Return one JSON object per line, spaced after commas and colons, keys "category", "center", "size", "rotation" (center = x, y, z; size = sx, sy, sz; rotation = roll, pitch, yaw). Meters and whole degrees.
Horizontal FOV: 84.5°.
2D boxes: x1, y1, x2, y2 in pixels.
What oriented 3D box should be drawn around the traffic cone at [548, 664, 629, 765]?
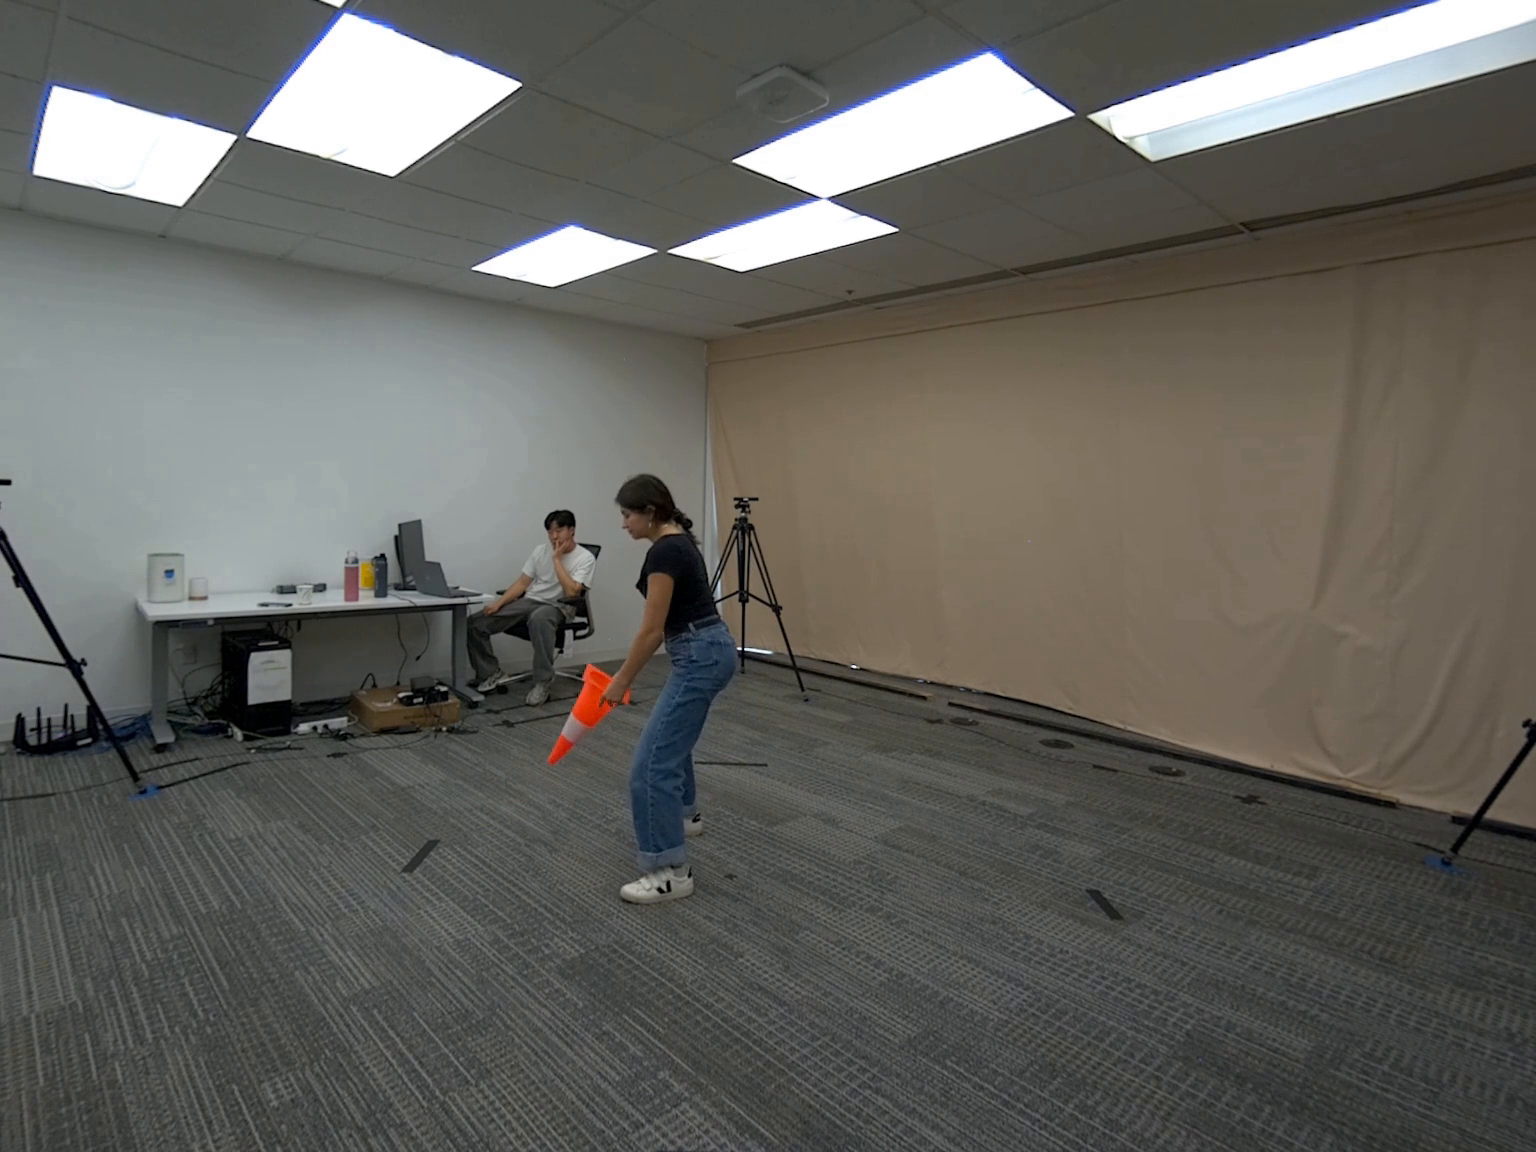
{"category": "traffic cone", "center": [-0.733, 0.575, 3.217], "size": [0.207, 0.383, 0.201], "rotation": [37, 1, 10]}
